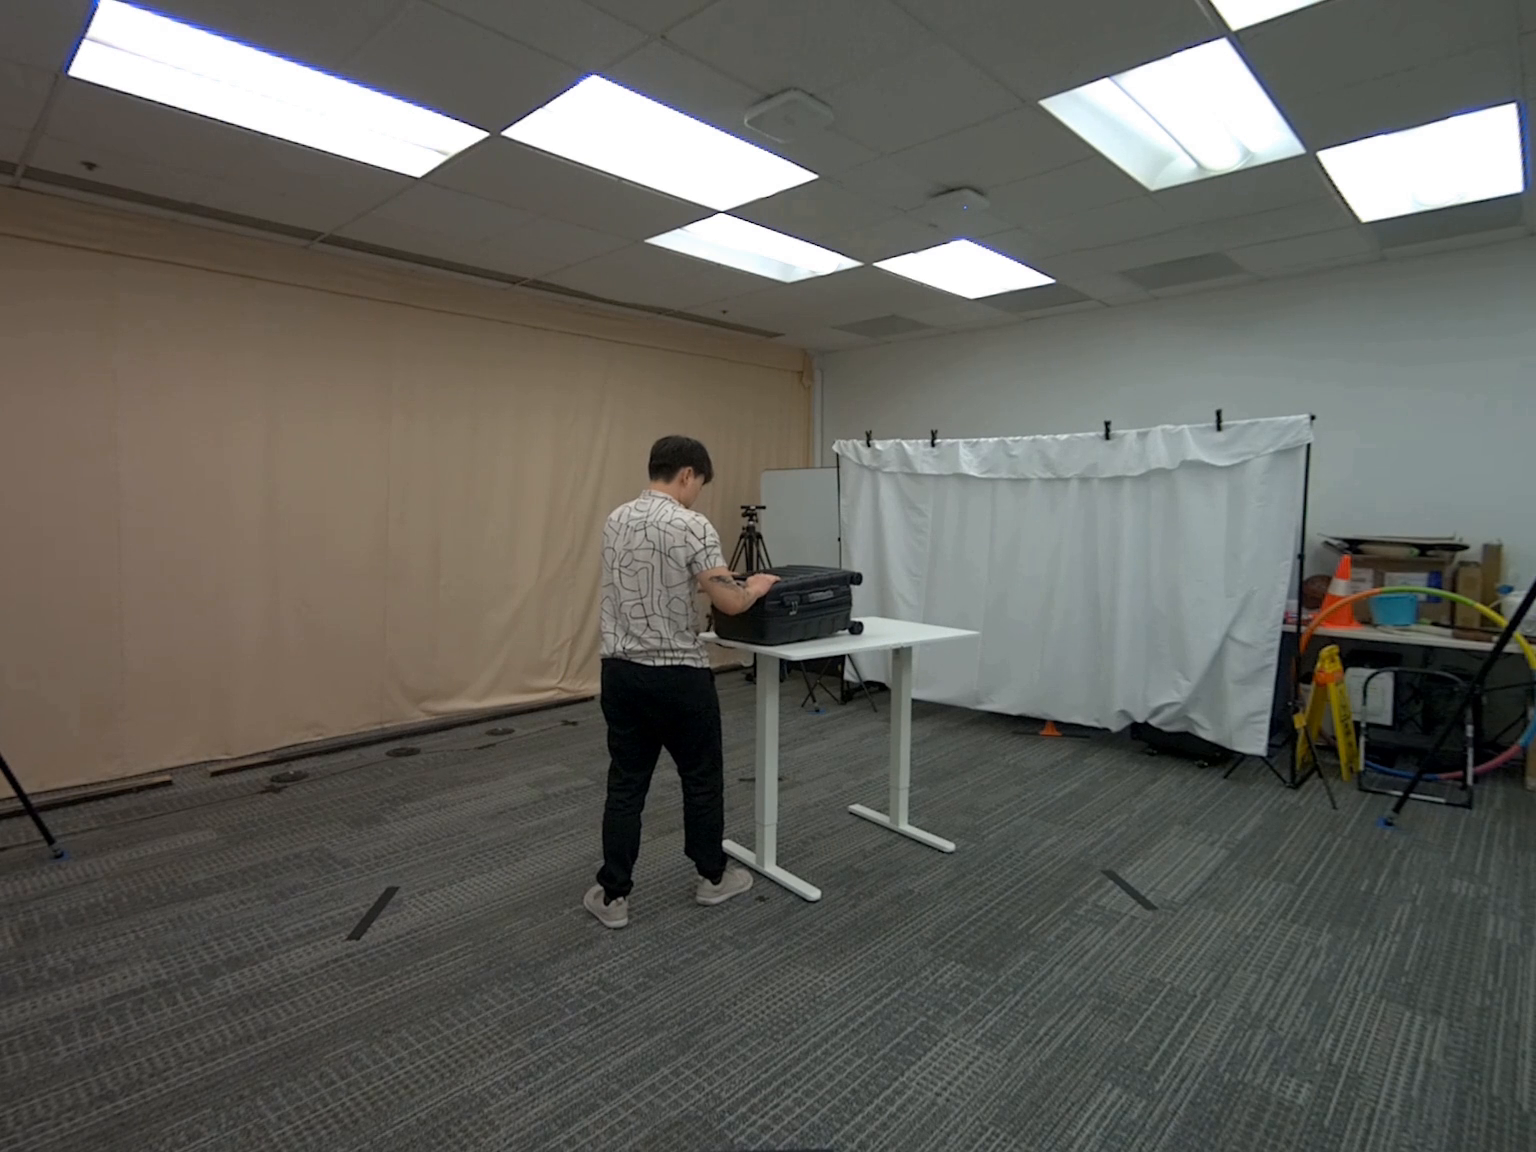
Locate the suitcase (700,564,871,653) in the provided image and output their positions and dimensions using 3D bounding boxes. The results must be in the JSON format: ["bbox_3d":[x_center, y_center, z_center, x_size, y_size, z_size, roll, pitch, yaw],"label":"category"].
[{"bbox_3d":[0.069,0.108,3.253,0.533,0.247,0.388,-7,7,-44],"label":"suitcase"}]
